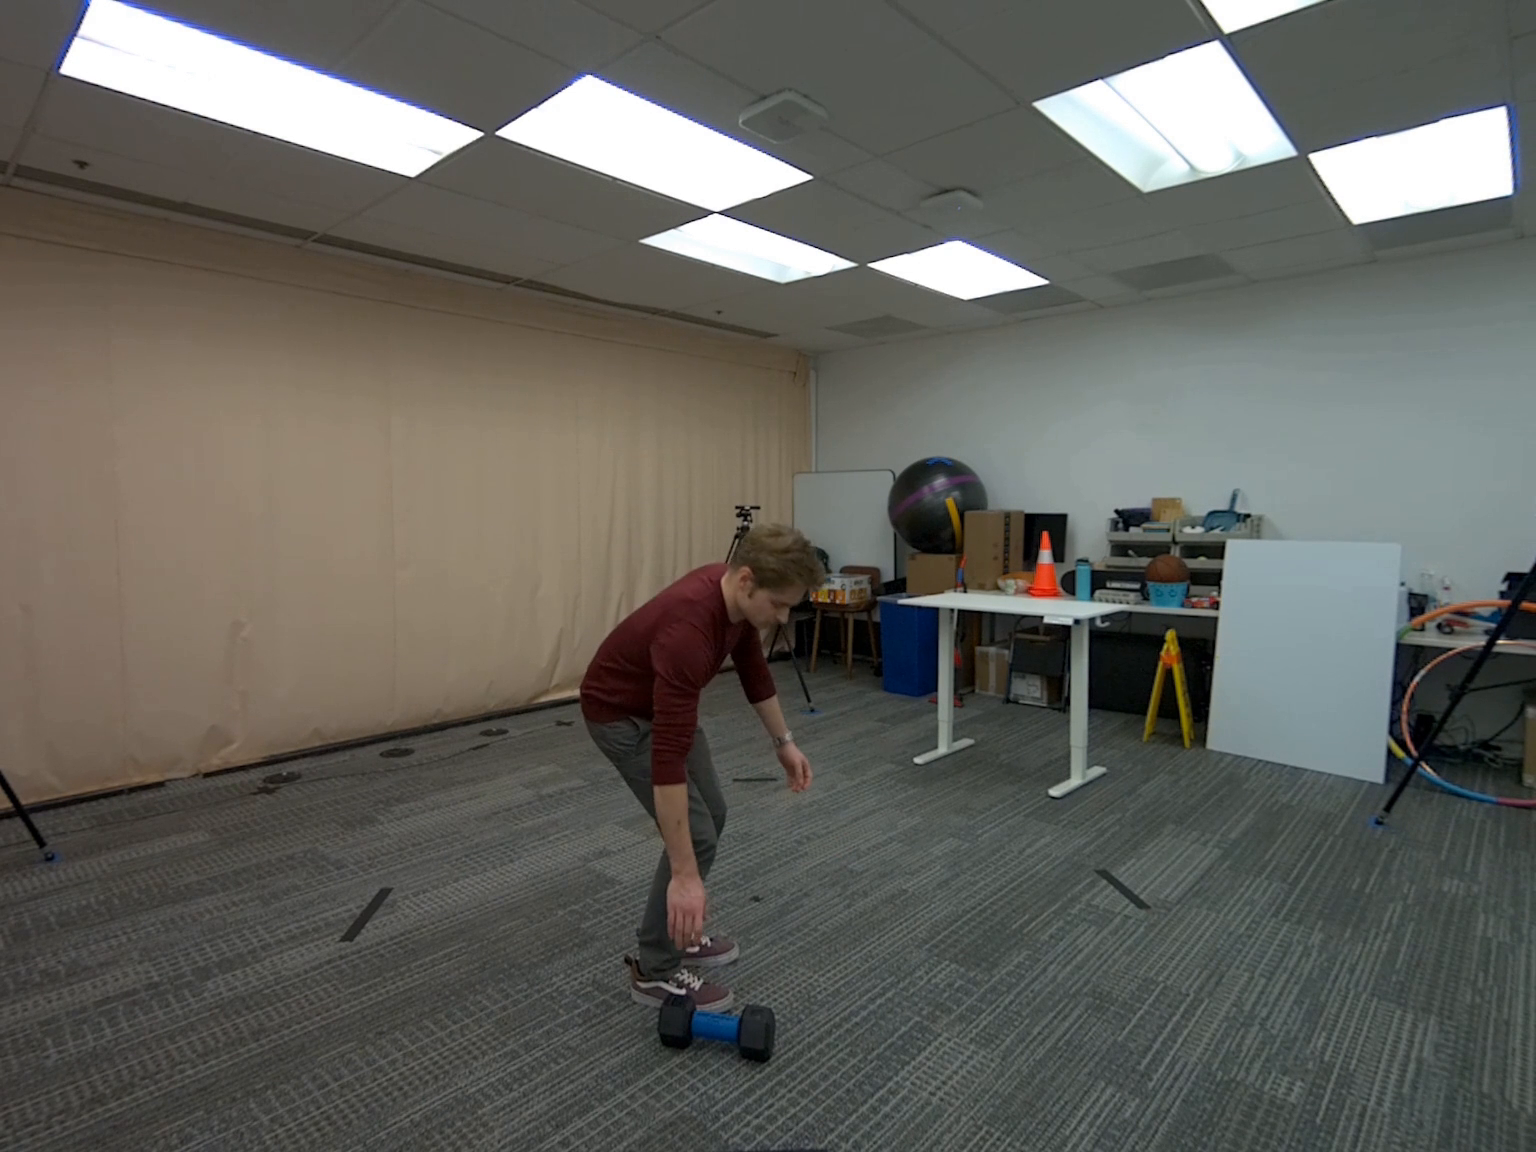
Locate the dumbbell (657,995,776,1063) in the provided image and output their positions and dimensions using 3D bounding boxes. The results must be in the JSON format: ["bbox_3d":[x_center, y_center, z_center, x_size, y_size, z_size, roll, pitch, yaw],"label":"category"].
[{"bbox_3d":[-0.129,1.160,2.162,0.298,0.120,0.109,1,34,14],"label":"dumbbell"}]
